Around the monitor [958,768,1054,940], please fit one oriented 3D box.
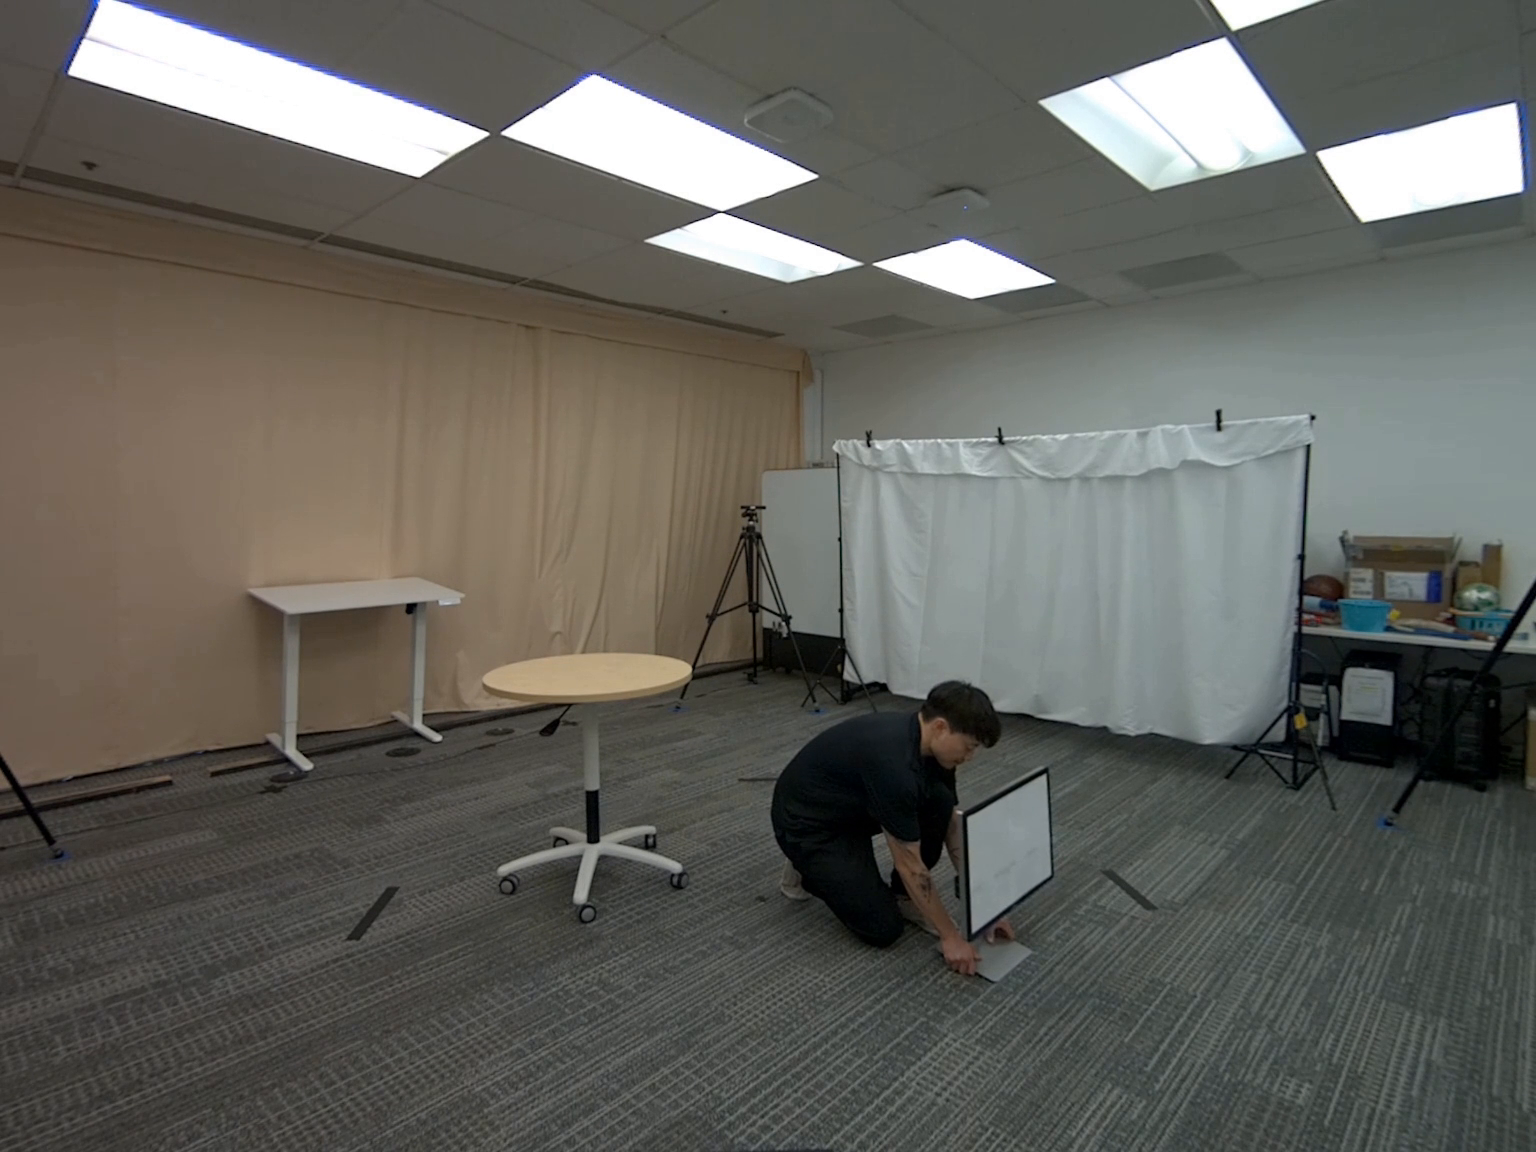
[{"bbox_3d":[0.700,0.904,2.557,0.194,0.520,0.522,14,12,41],"label":"monitor"}]
